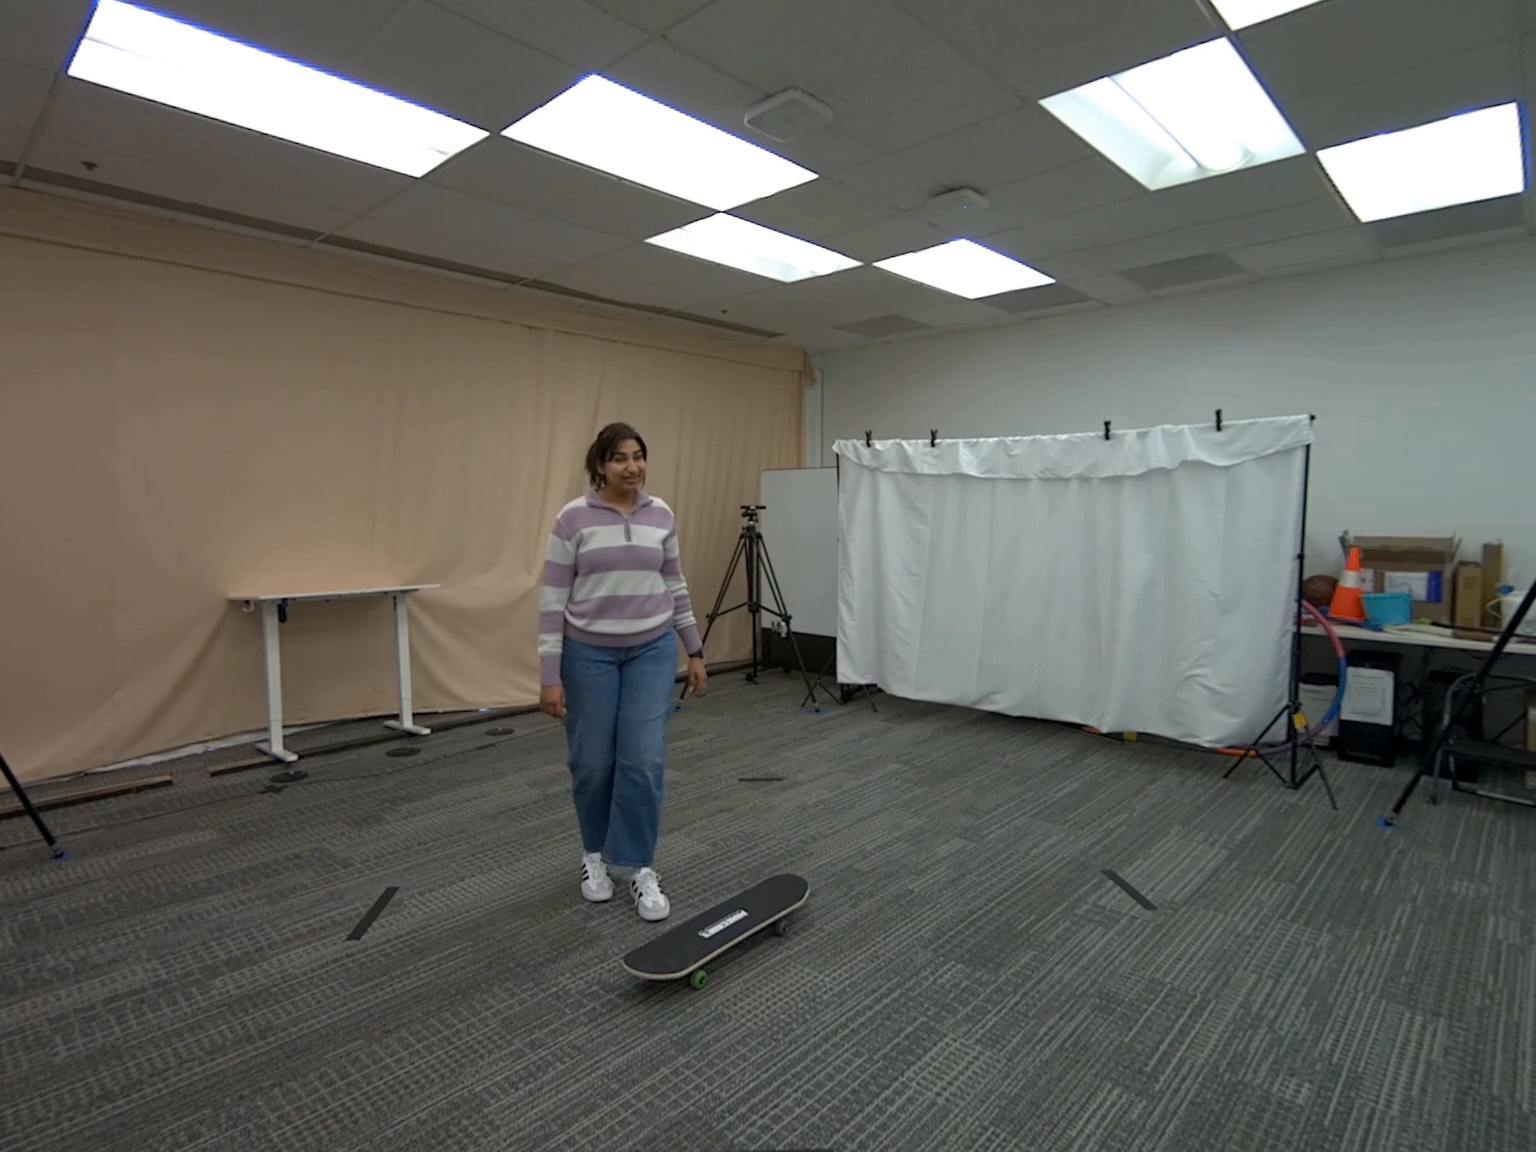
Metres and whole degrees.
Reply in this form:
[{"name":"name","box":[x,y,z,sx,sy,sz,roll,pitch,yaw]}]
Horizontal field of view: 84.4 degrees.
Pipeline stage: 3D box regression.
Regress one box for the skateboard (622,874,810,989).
[{"name":"skateboard","box":[-0.140,1.120,2.628,0.200,0.110,0.762,2,5,40]}]
